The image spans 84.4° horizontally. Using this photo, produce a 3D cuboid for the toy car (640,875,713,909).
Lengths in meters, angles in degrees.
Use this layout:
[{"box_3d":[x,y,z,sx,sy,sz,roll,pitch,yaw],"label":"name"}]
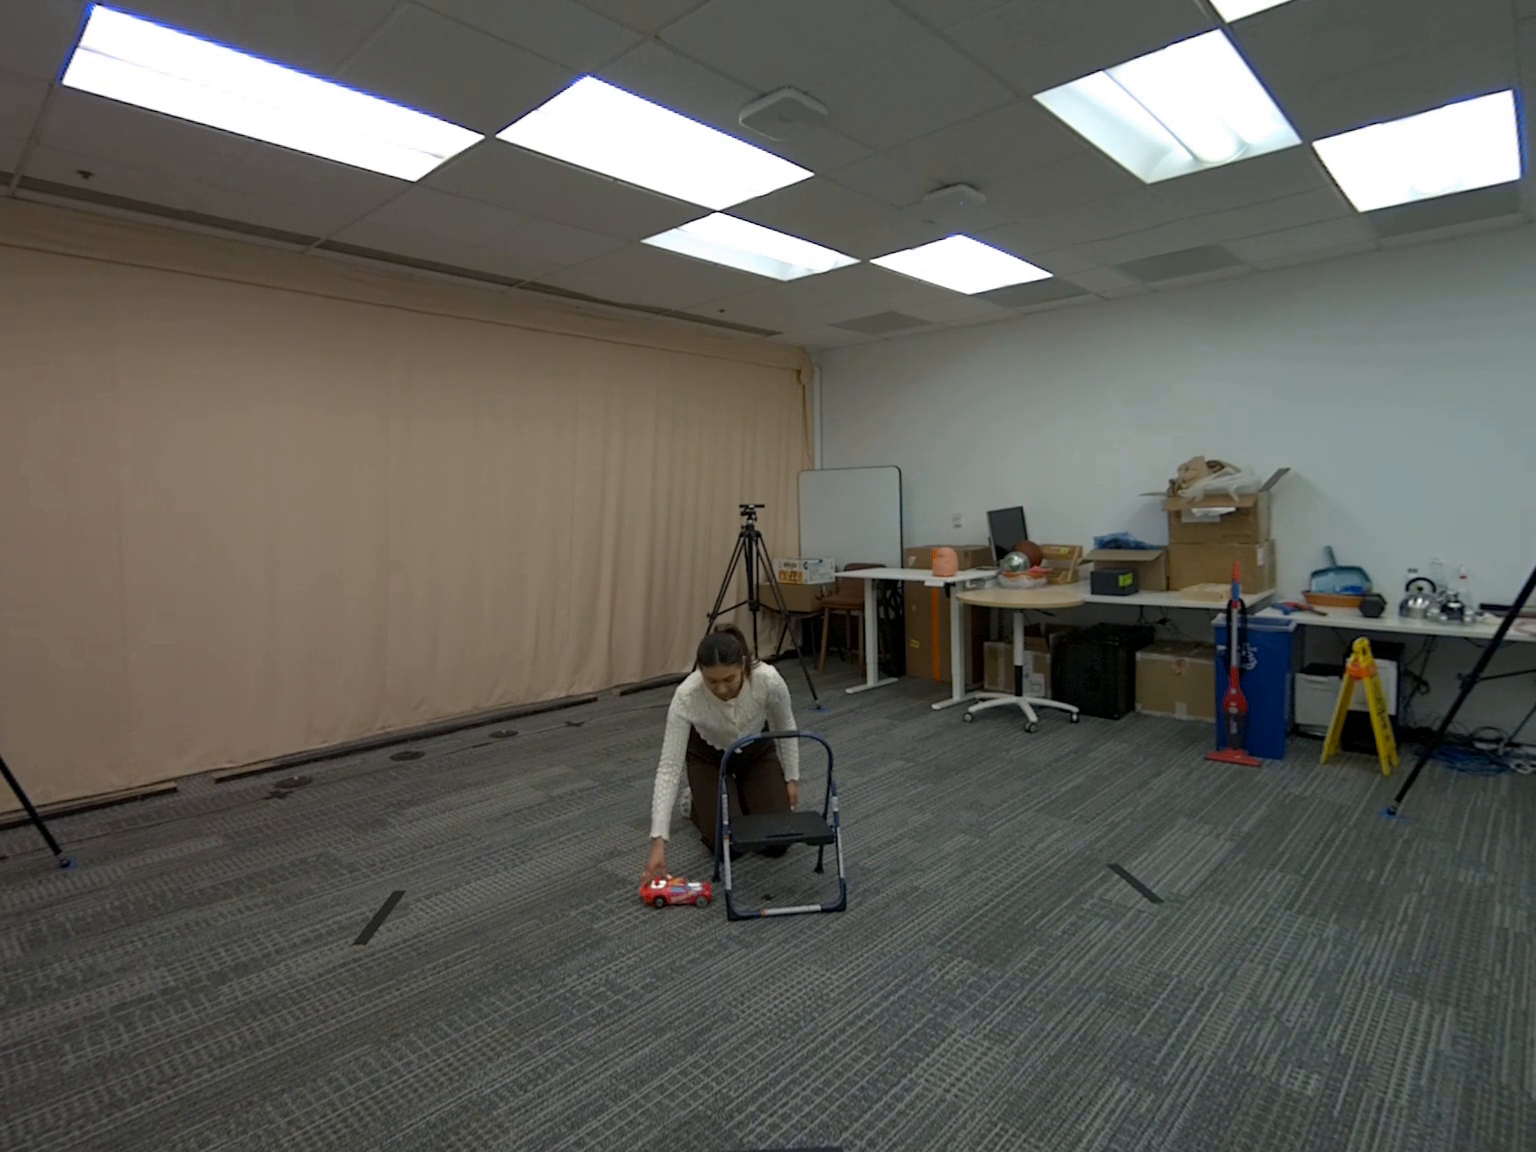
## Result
[{"box_3d":[-0.310,1.115,2.978,0.254,0.083,0.131,8,5,-3],"label":"toy car"}]
